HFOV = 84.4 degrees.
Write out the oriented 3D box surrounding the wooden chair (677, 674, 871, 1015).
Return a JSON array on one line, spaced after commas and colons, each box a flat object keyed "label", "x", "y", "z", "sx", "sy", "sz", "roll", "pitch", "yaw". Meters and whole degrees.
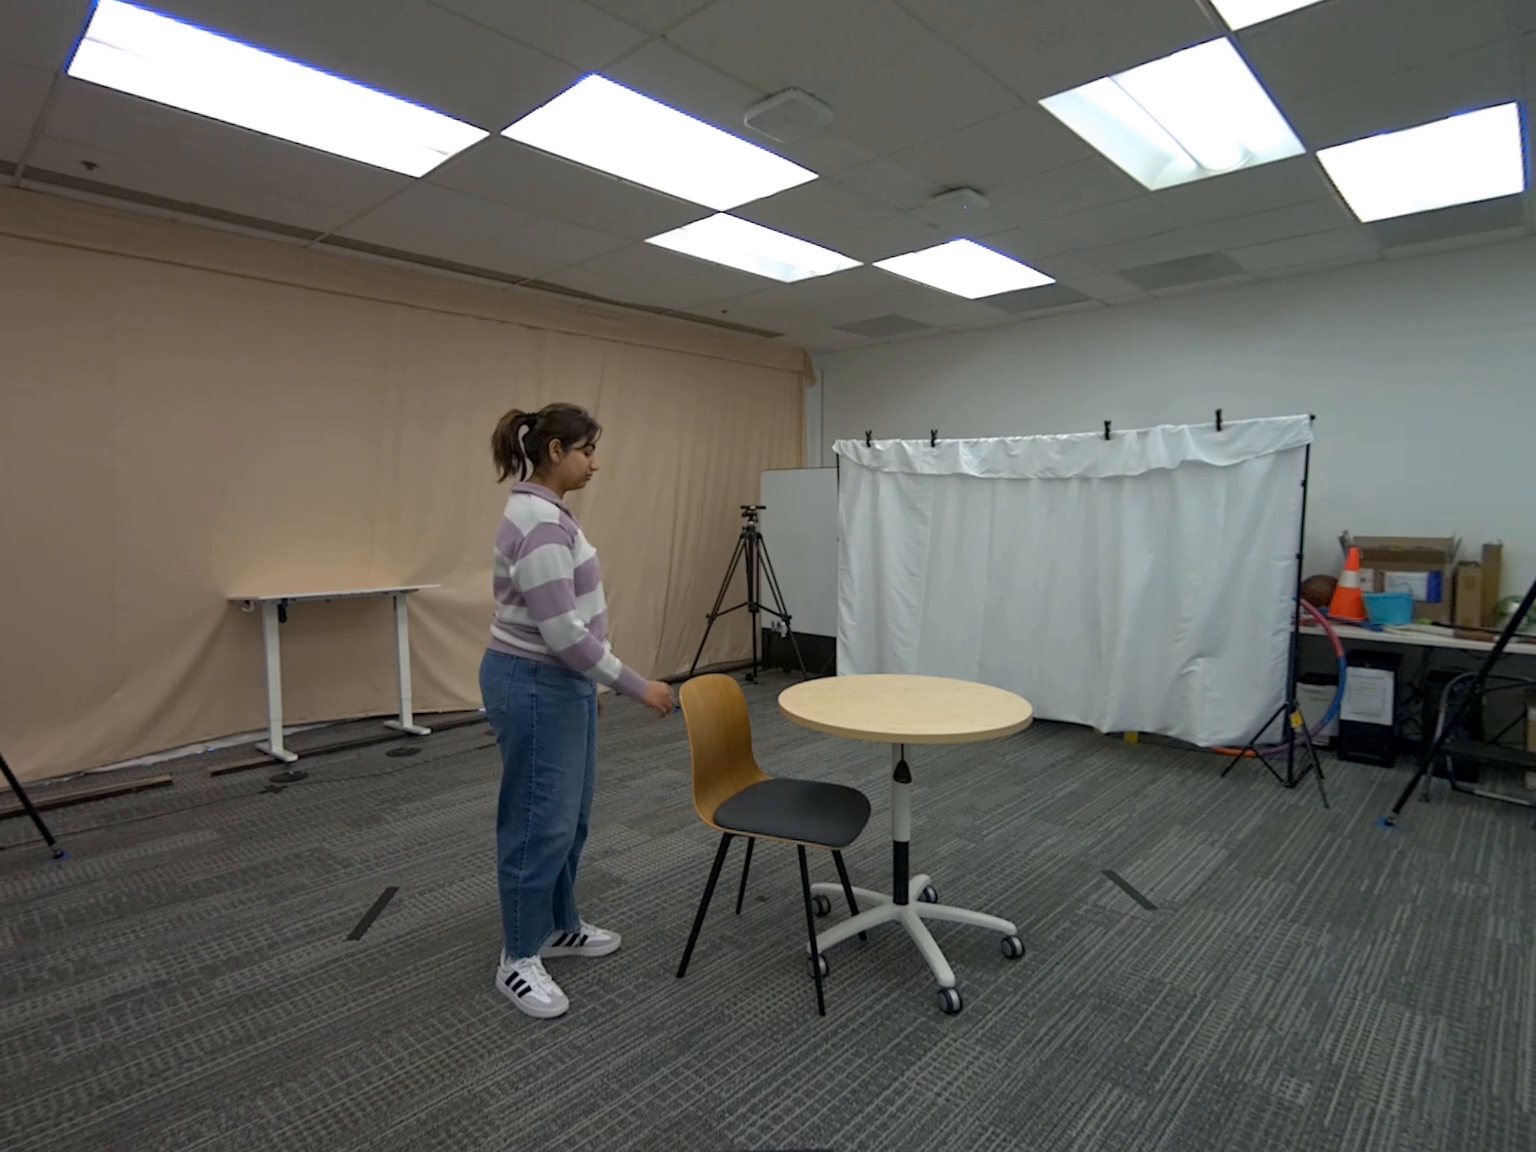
[{"label": "wooden chair", "x": 0.035, "y": 0.754, "z": 2.564, "sx": 0.536, "sy": 0.876, "sz": 0.467, "roll": -3, "pitch": 2, "yaw": 24}]
